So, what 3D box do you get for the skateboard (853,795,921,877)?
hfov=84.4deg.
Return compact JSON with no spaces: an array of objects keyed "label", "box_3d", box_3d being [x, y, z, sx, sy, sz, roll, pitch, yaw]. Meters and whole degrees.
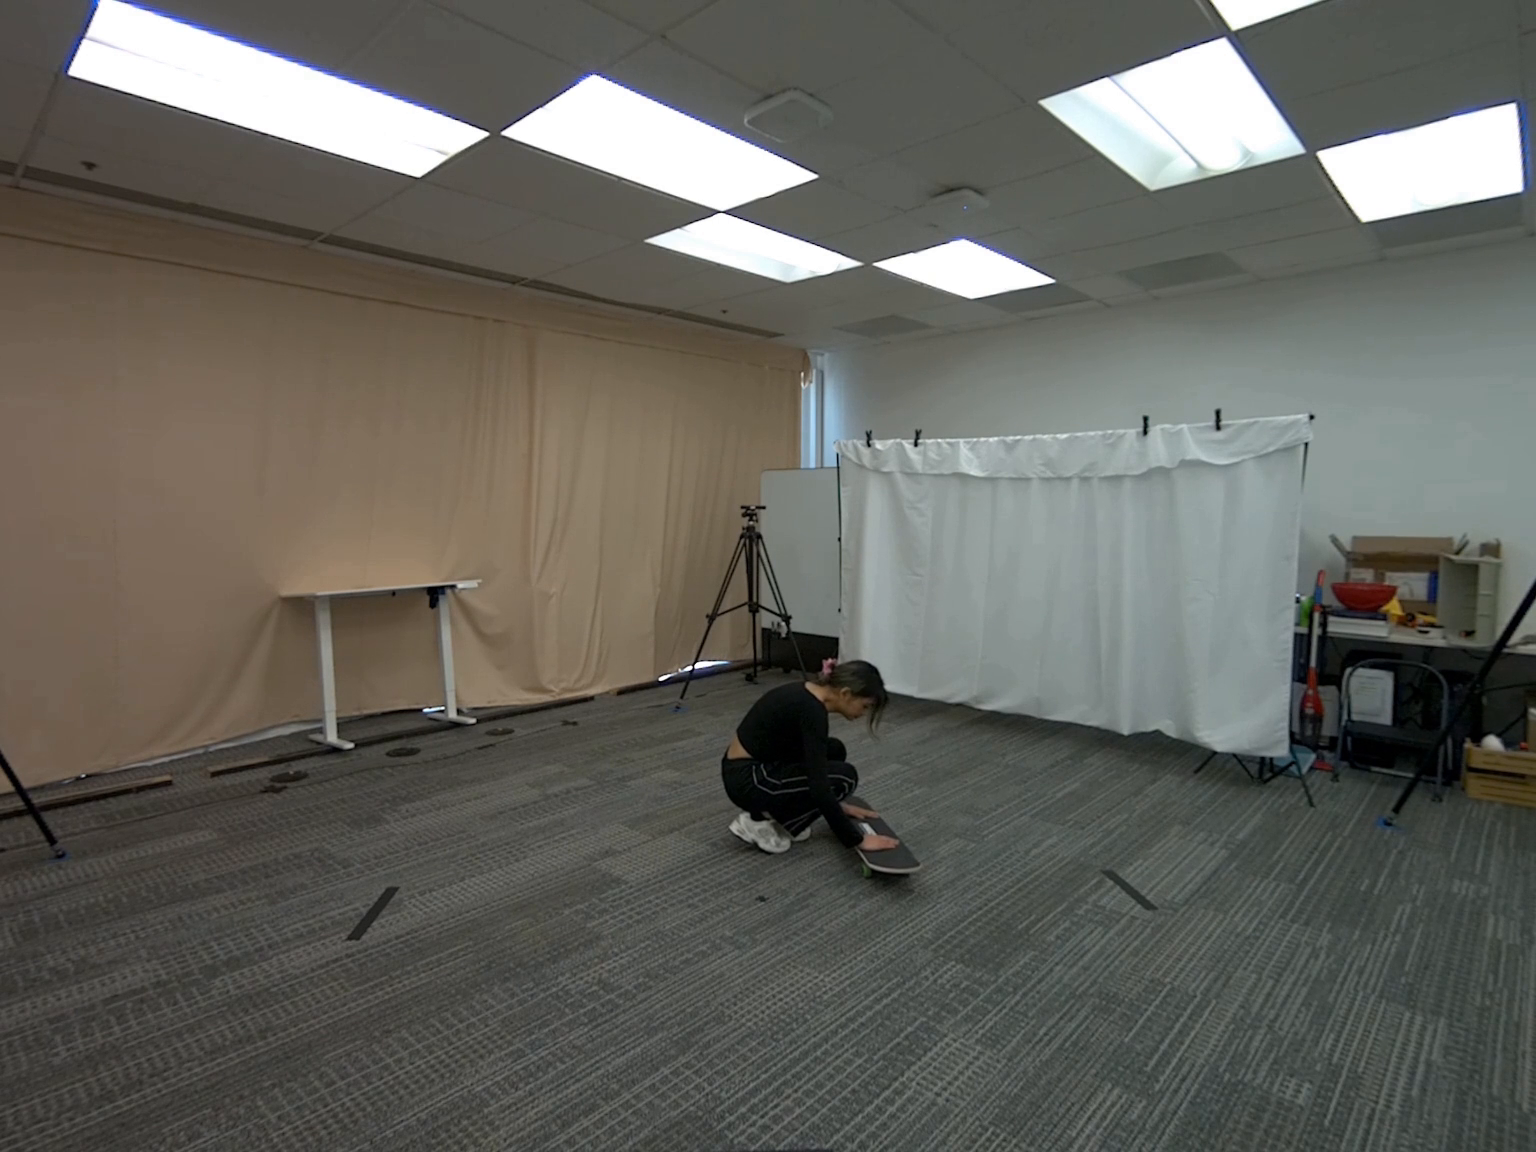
[{"label":"skateboard","box_3d":[0.409,1.055,3.359,0.191,0.110,0.796,-3,6,-11]}]
